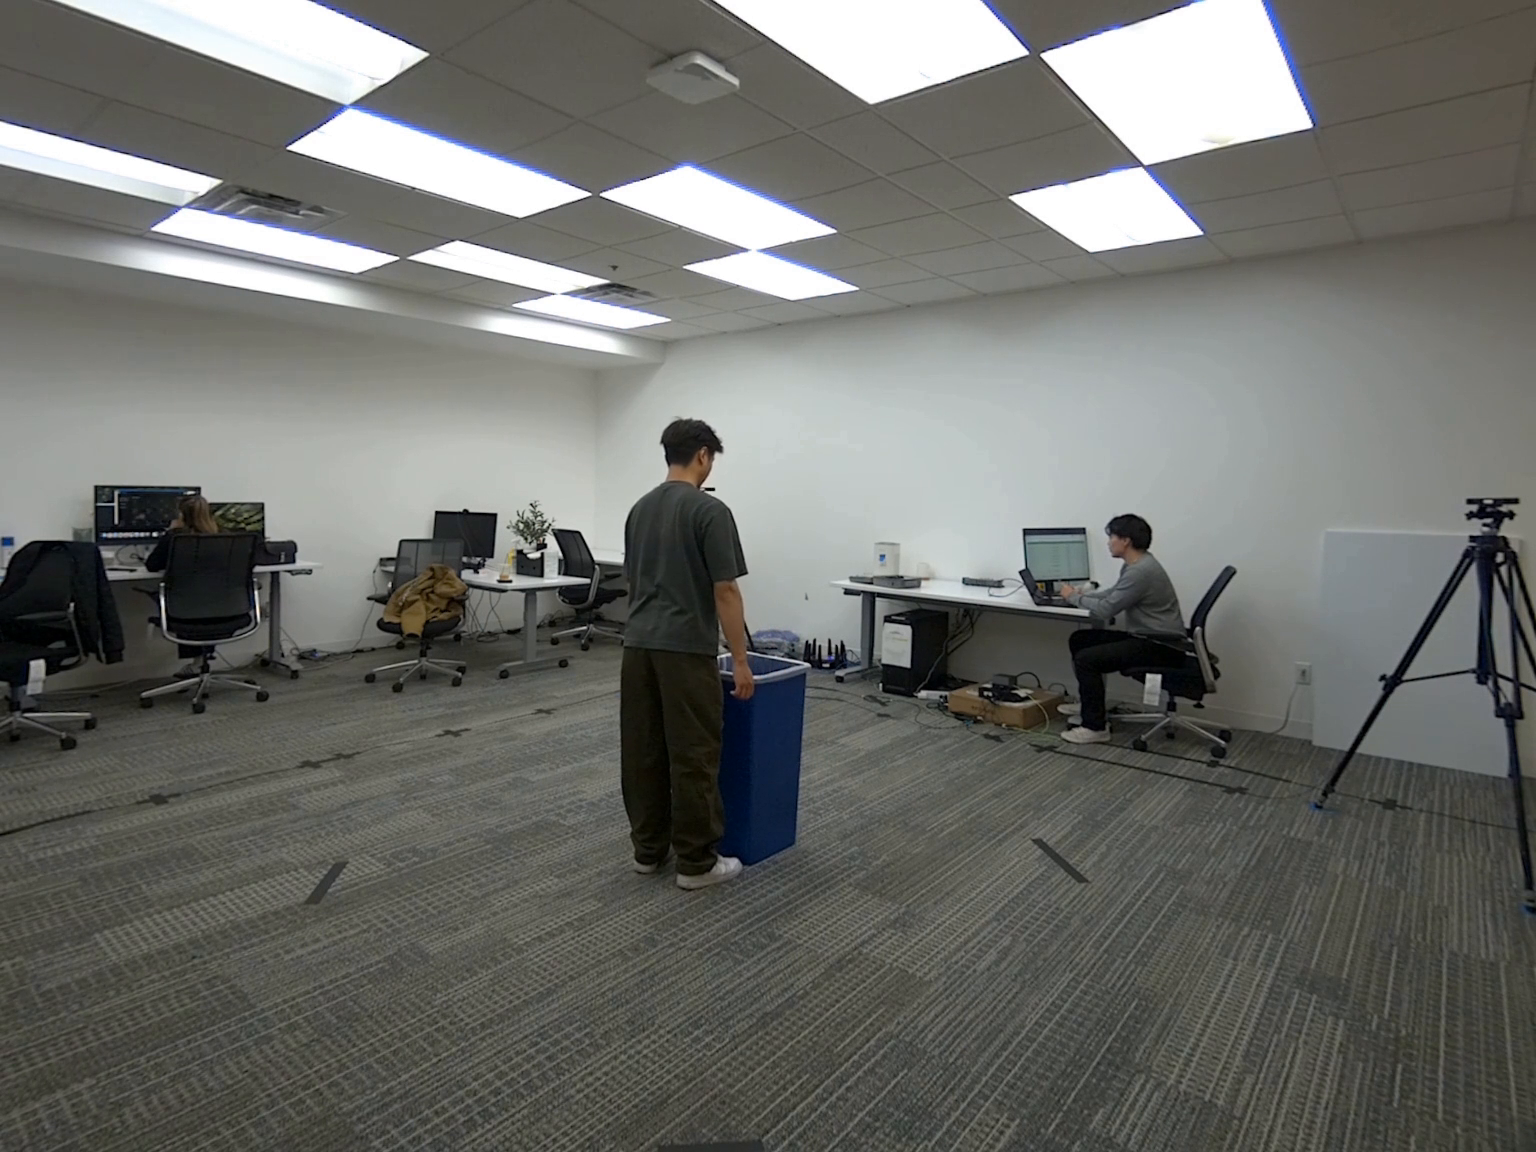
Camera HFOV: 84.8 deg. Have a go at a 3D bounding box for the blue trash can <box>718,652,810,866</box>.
[{"bbox_3d":[-0.096,0.688,3.326,0.391,0.711,0.363,4,5,39],"label":"blue trash can"}]
